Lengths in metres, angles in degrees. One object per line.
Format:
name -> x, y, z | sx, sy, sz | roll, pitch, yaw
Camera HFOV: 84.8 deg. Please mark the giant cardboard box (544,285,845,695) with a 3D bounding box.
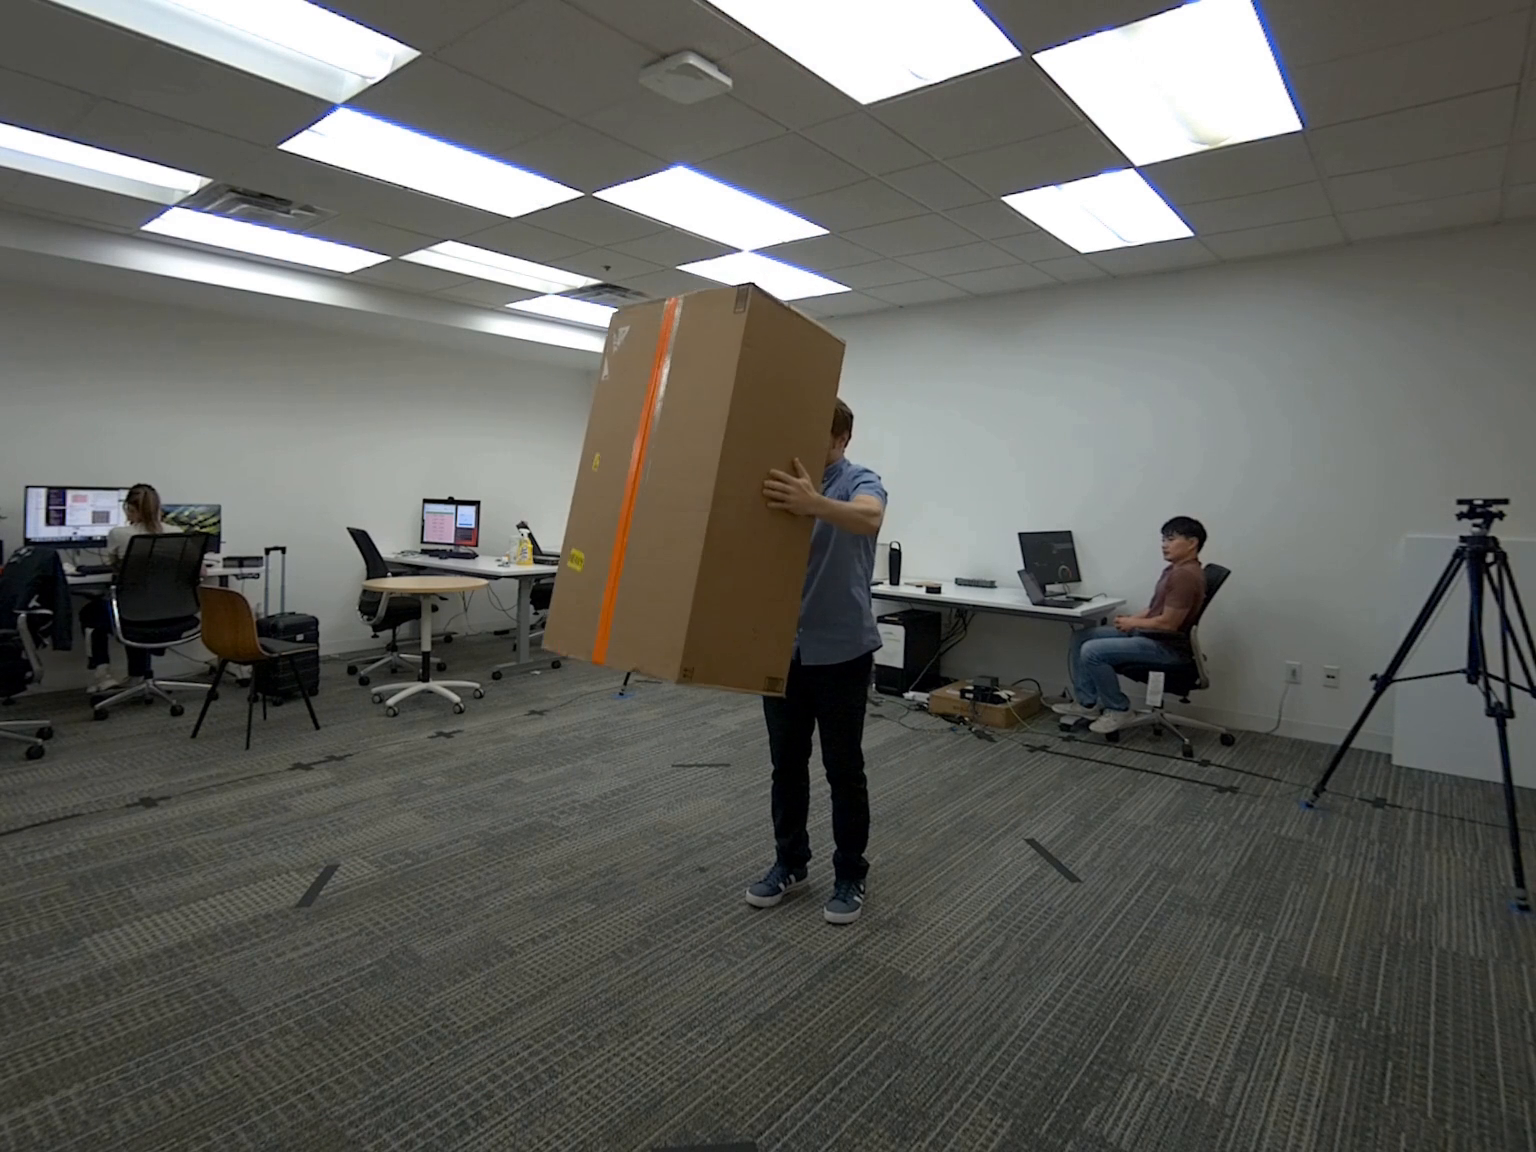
giant cardboard box -> -0.218, -0.227, 2.419 | 0.597, 1.031, 0.410 | 4, -8, 43
